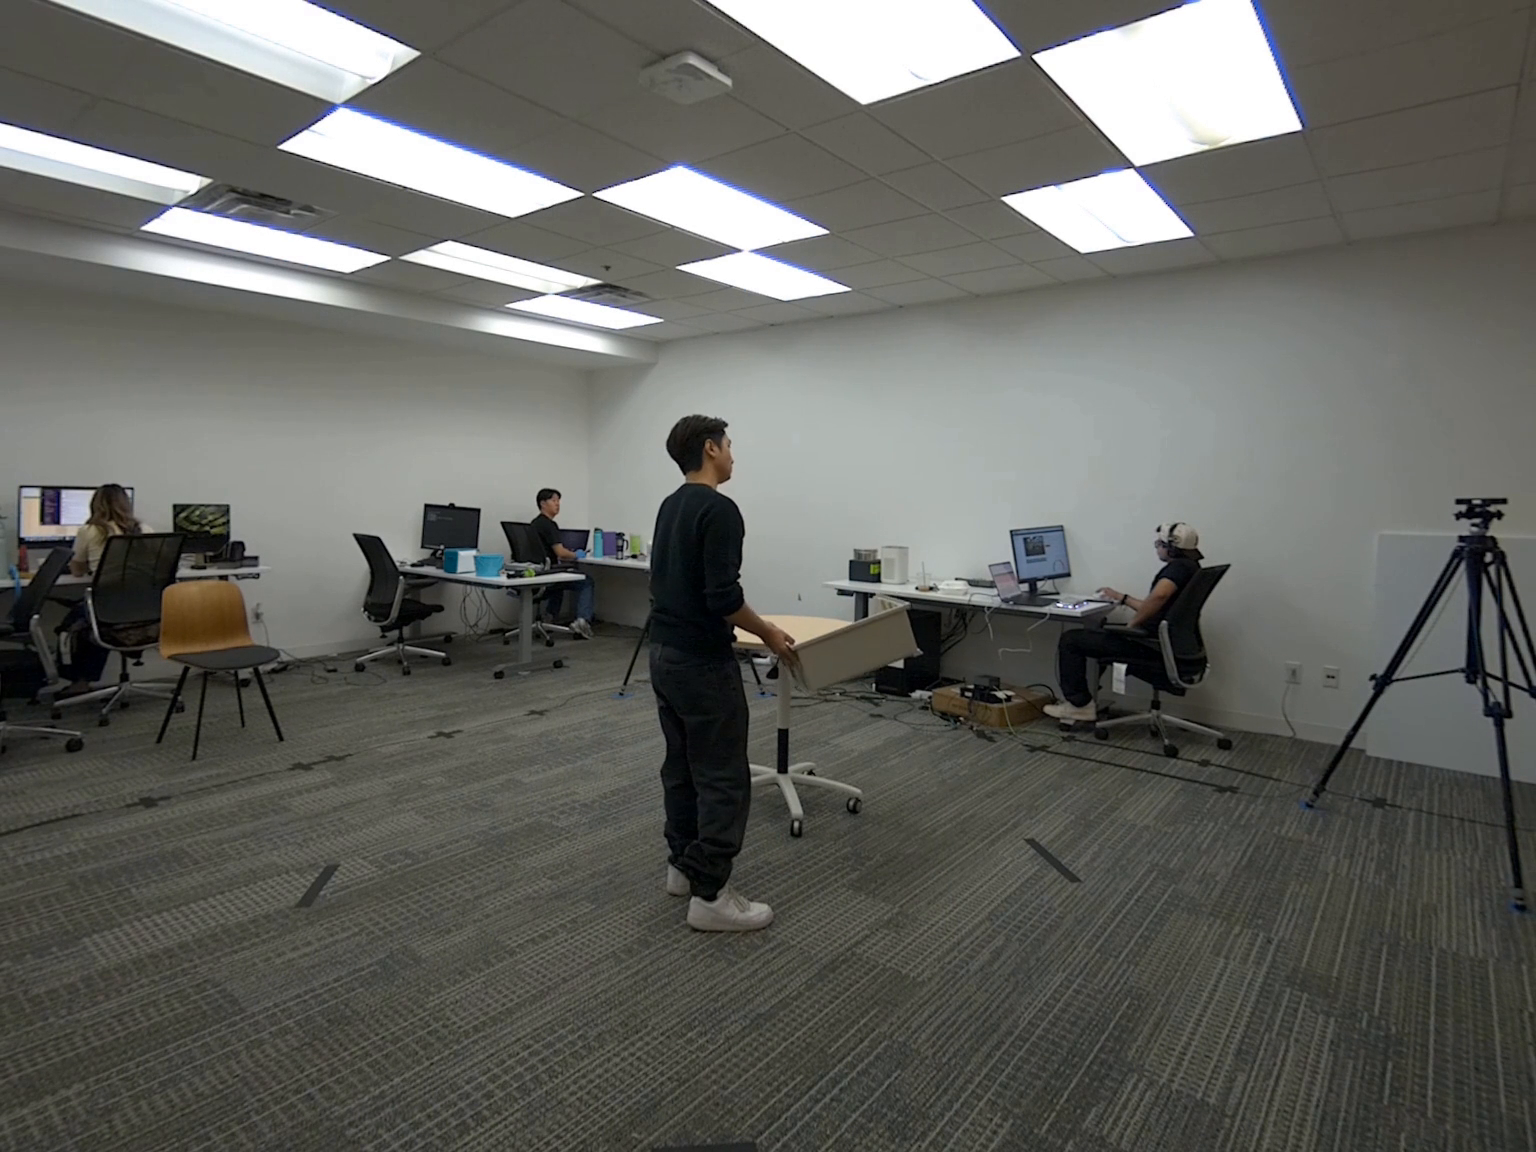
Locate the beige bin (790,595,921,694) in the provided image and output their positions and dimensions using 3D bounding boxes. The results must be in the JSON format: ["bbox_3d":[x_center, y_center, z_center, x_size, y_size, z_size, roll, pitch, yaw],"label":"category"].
[{"bbox_3d":[0.252,0.223,2.965,0.420,0.187,0.383,-18,9,-8],"label":"beige bin"}]
